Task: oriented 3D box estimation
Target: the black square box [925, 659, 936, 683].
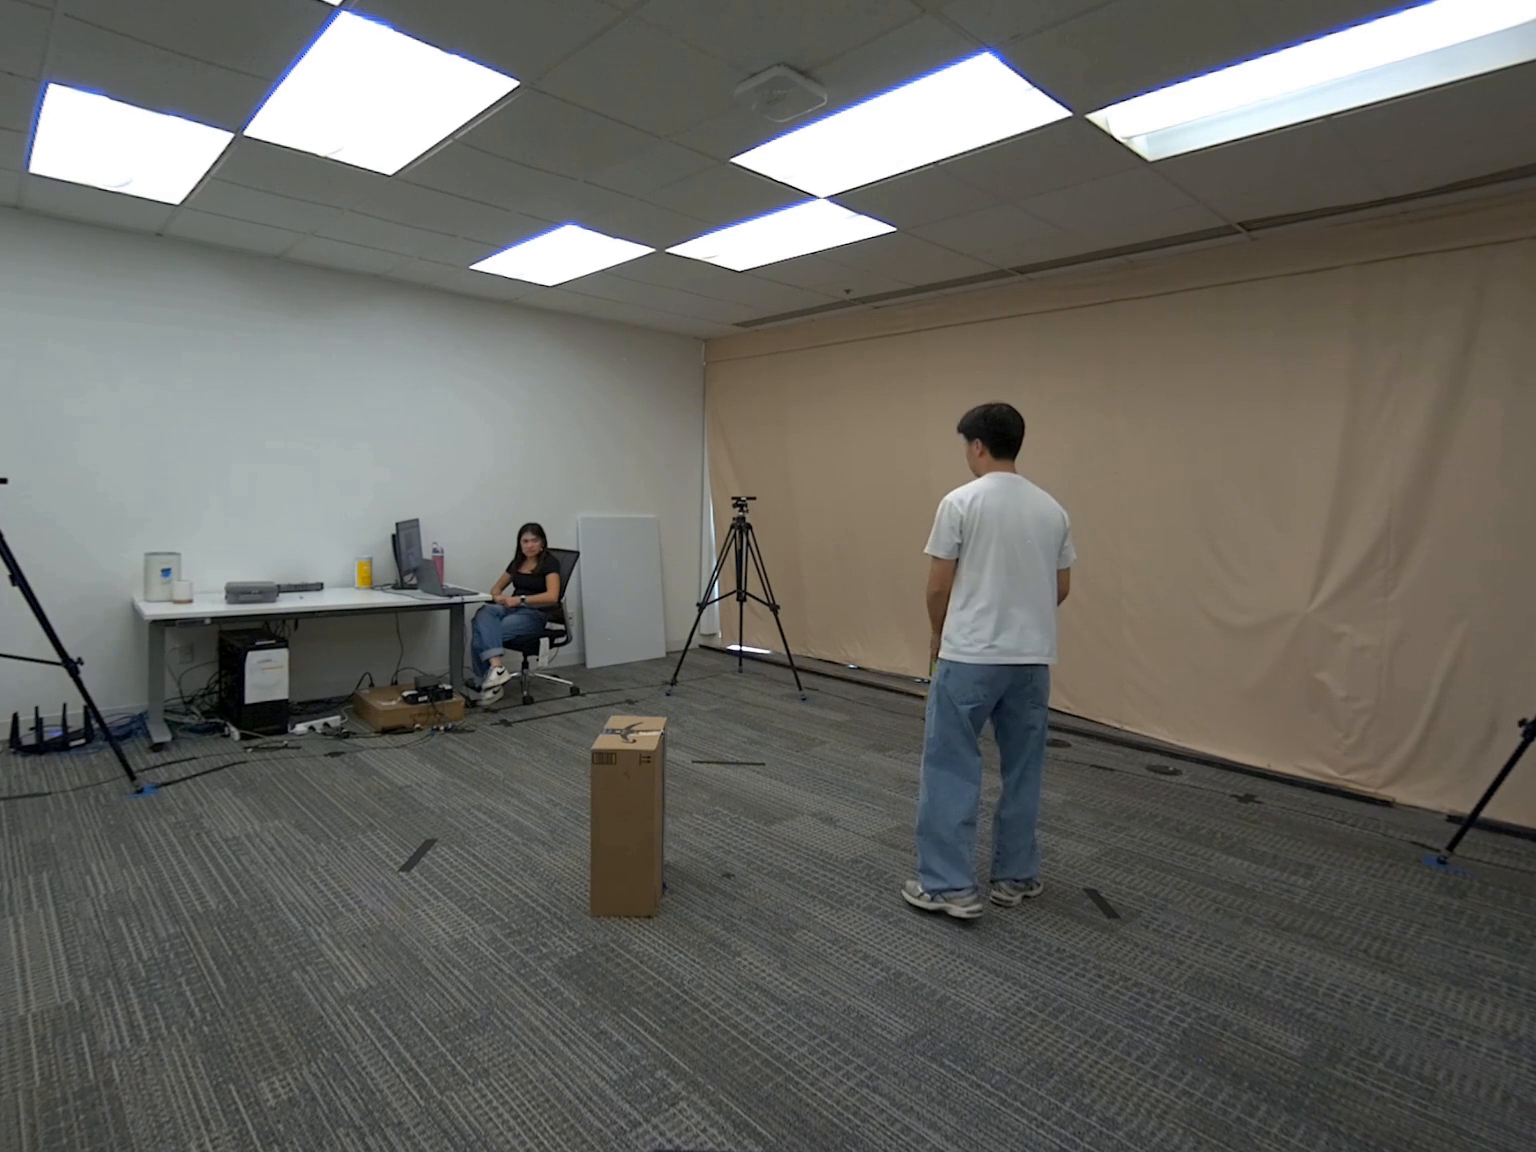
[{"bbox_3d":[0.760,0.299,3.205,0.215,0.227,0.157,3,3,-10],"label":"black square box"}]
